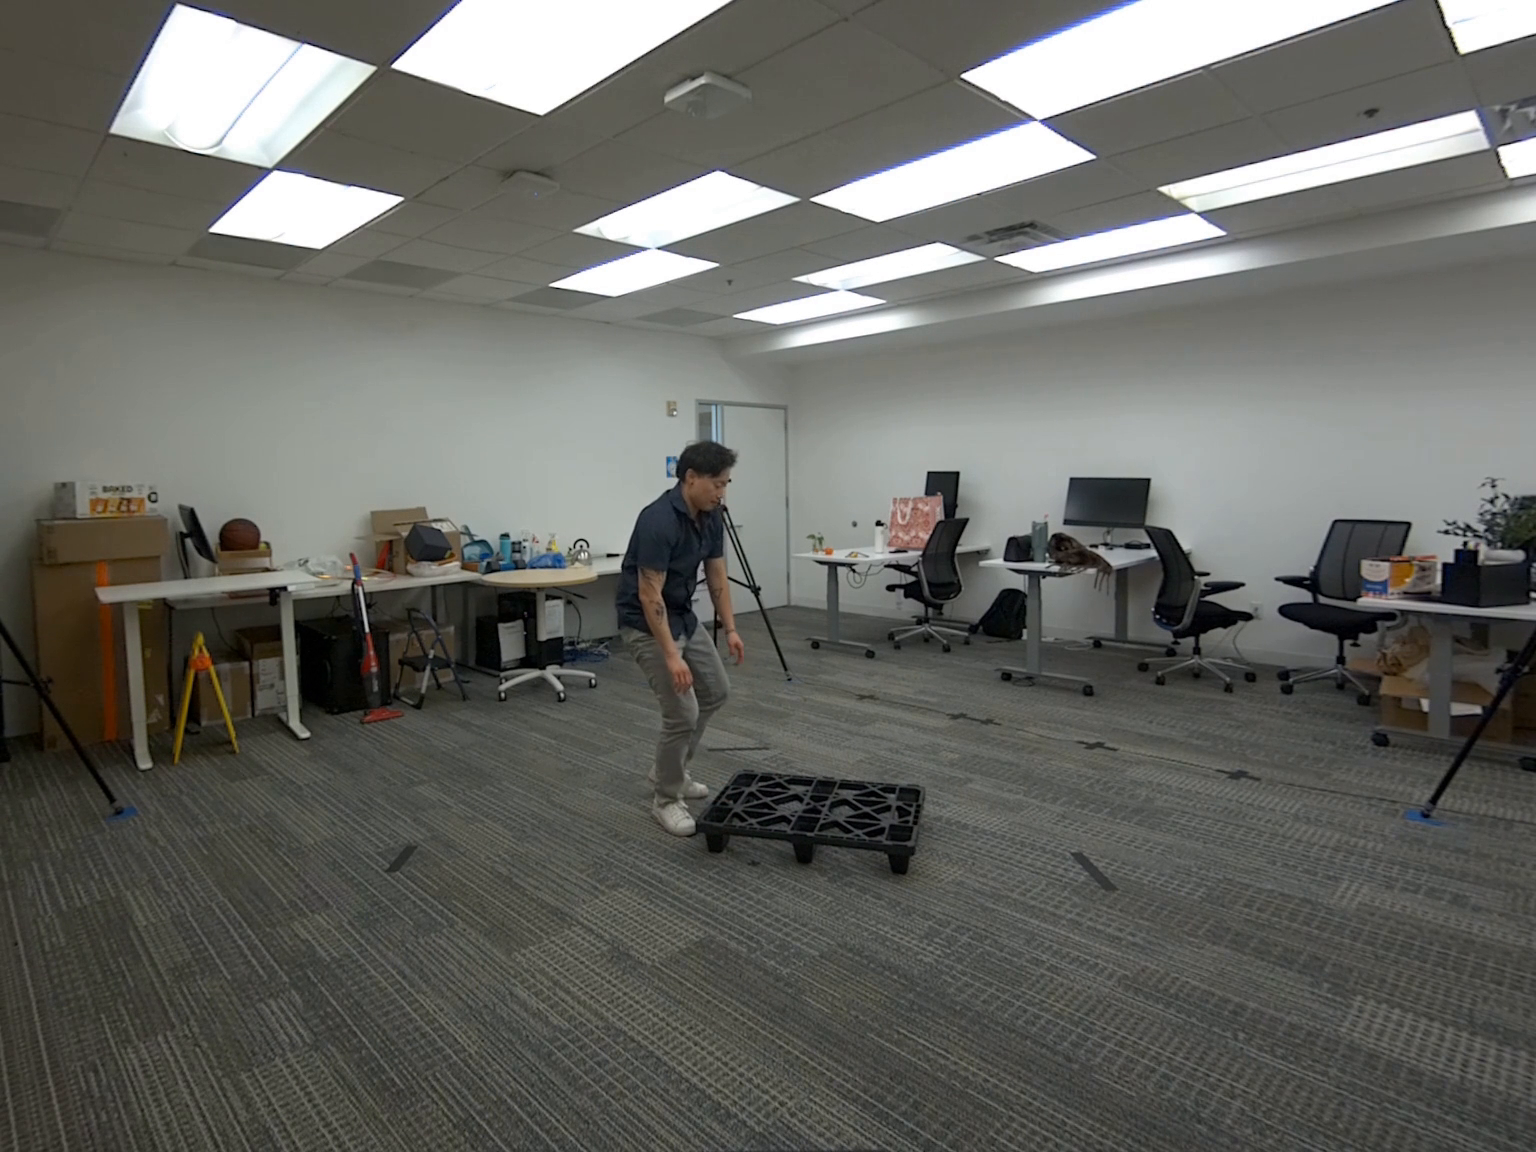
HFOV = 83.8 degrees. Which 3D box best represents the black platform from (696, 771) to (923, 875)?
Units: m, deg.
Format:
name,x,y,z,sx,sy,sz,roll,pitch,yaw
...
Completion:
name,x,y,z,sx,sy,sz,roll,pitch,yaw
black platform,0.184,0.948,3.323,0.818,0.143,0.598,1,6,16
